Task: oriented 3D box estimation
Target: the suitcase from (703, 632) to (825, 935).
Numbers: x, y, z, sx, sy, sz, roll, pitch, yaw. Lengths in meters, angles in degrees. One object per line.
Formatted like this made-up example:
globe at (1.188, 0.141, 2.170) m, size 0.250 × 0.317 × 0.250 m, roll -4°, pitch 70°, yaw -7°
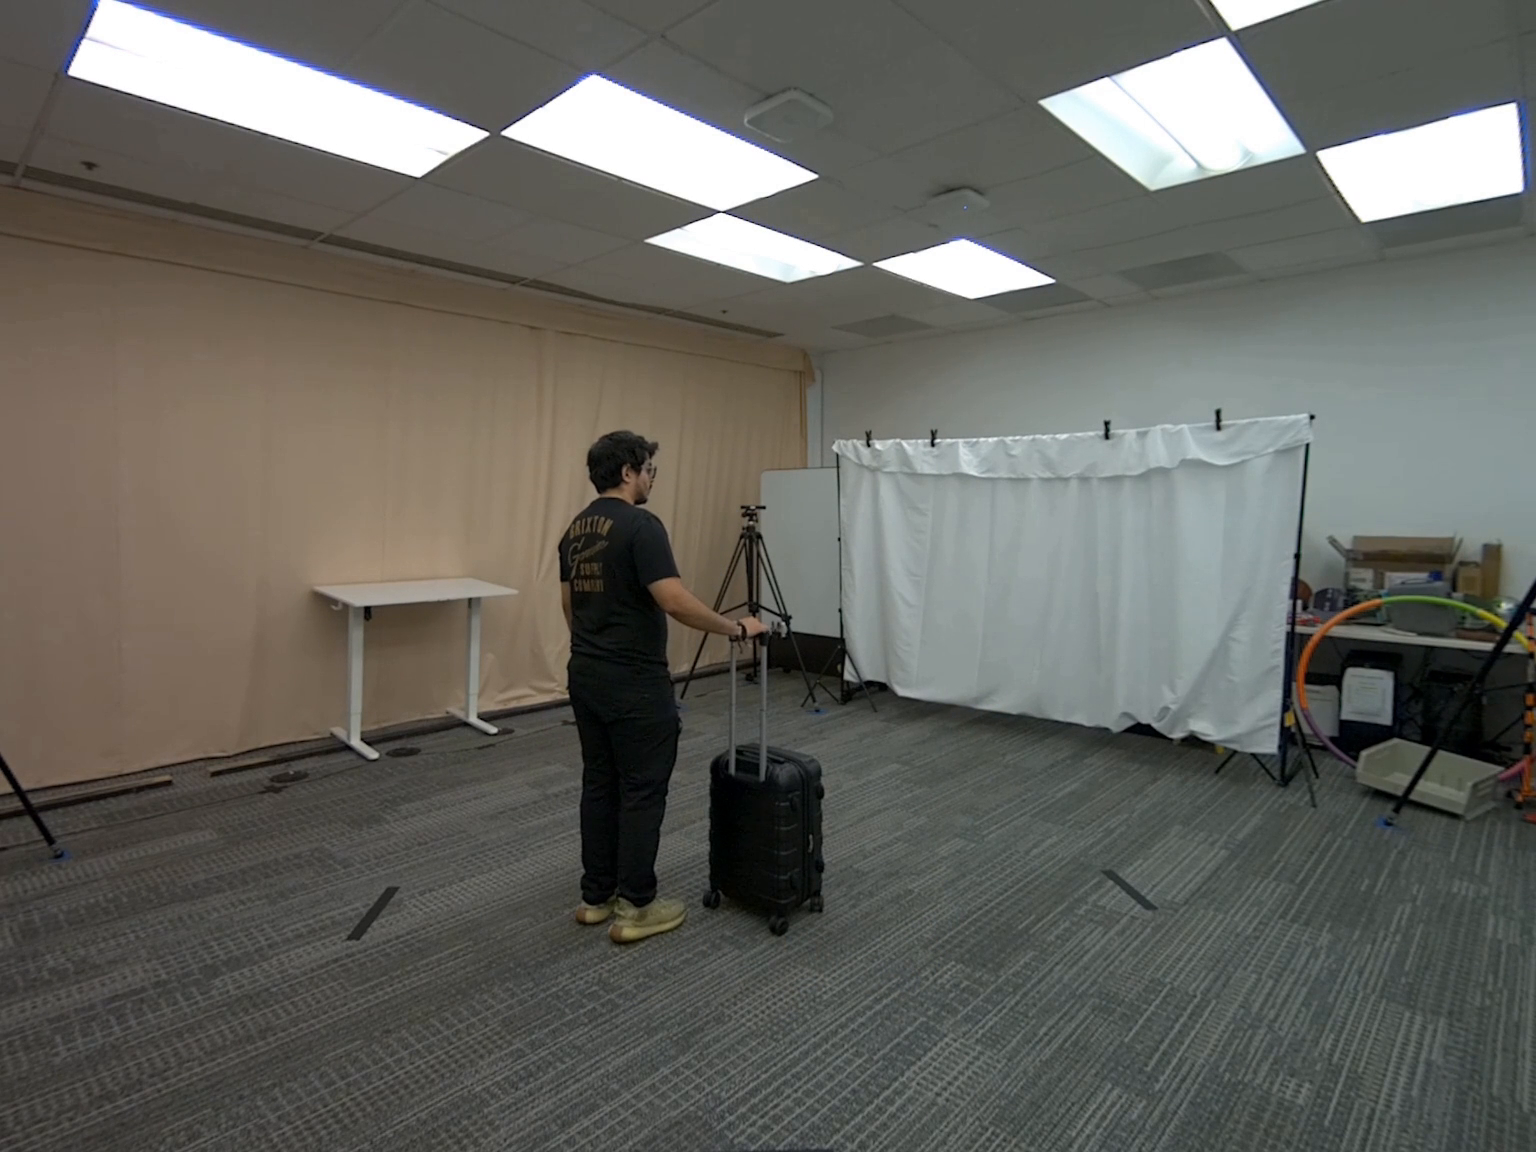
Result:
suitcase at (0.001, 0.674, 2.906) m, size 0.396 × 0.978 × 0.249 m, roll 3°, pitch 1°, yaw 39°
